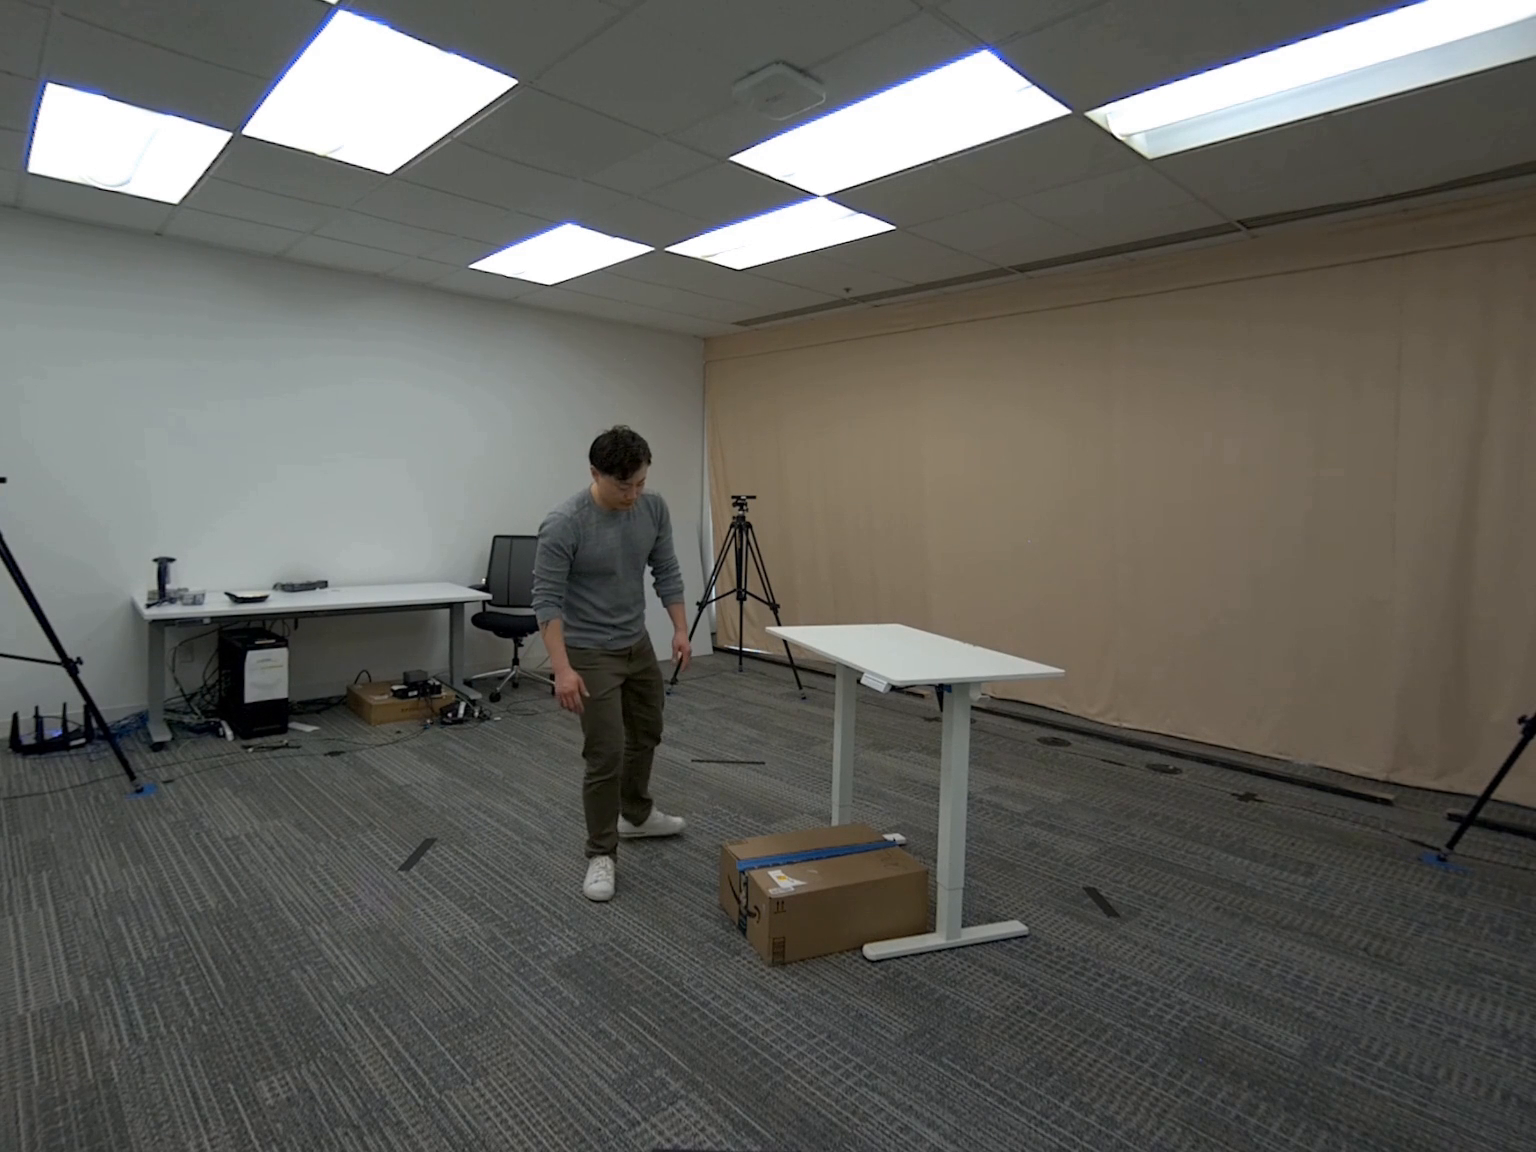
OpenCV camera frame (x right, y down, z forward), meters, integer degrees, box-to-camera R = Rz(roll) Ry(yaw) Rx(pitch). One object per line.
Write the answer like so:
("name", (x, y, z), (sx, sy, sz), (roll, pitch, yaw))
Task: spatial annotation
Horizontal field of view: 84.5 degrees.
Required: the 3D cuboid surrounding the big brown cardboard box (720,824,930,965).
("big brown cardboard box", (0.166, 1.025, 2.778), (0.579, 0.232, 0.426), (0, 5, -23))
